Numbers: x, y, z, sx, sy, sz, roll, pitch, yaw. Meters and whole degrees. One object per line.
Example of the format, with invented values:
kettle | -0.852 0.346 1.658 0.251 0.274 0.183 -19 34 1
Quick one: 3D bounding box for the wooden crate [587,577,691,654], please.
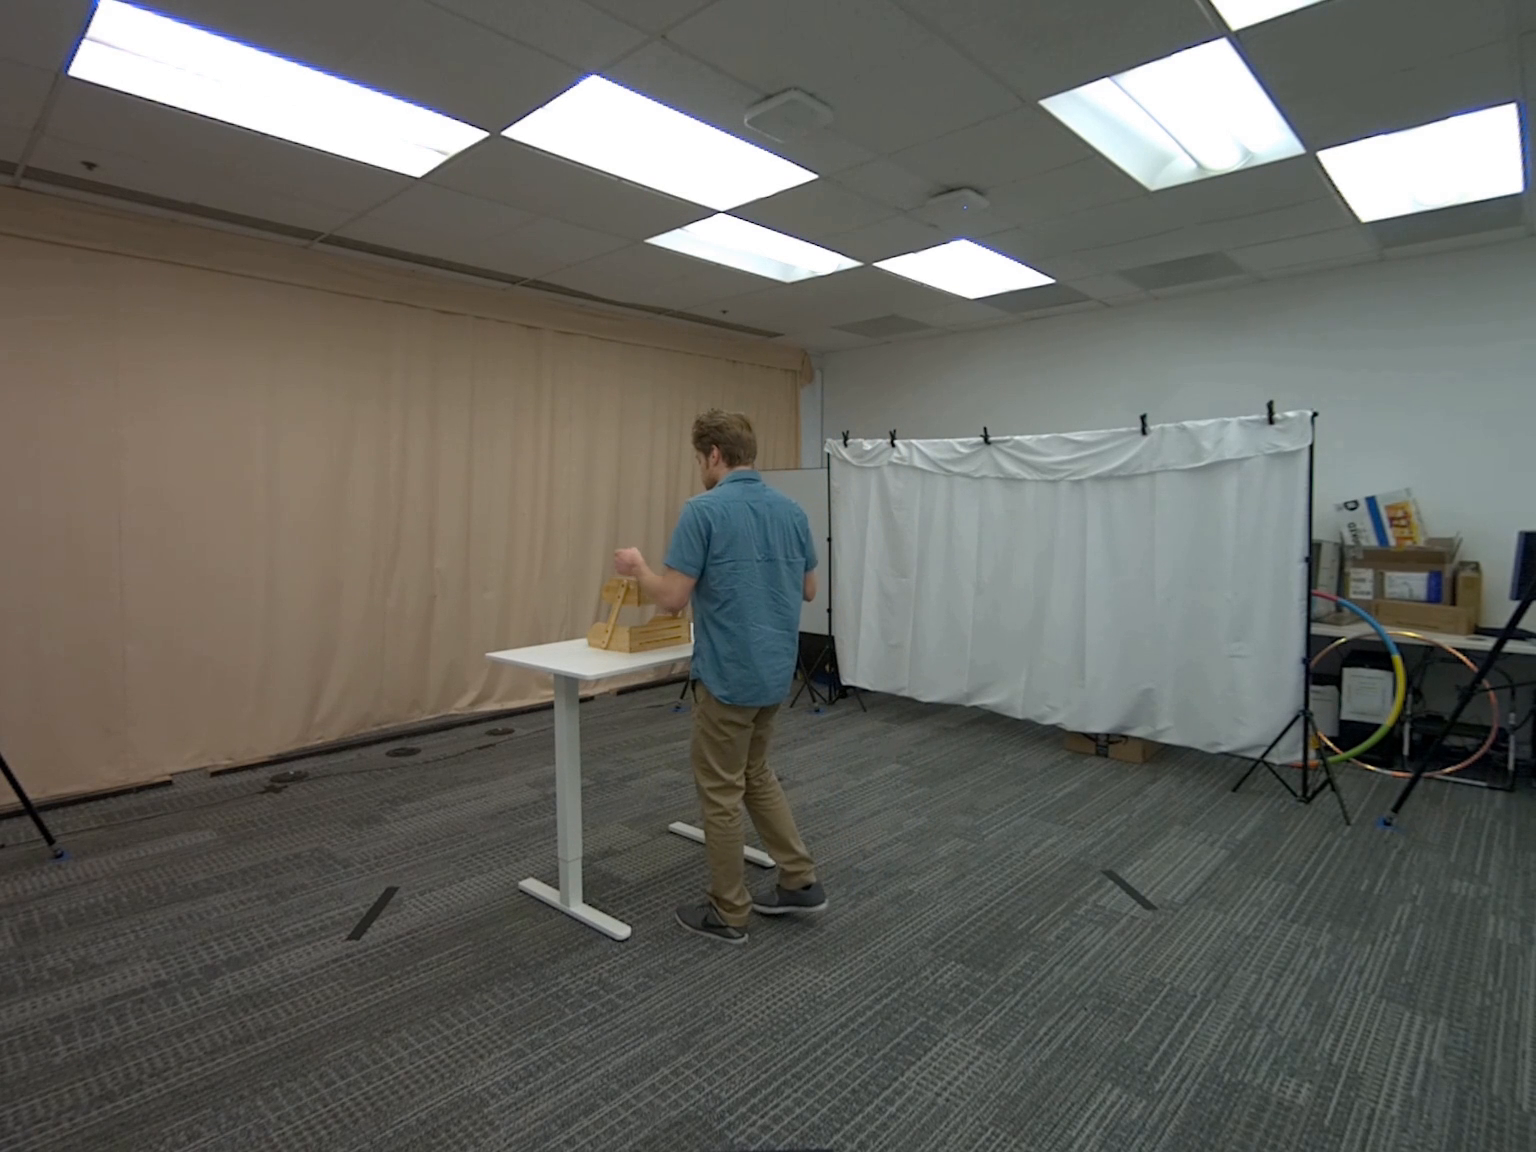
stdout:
wooden crate | -0.464 0.123 3.101 0.312 0.272 0.315 3 6 42
